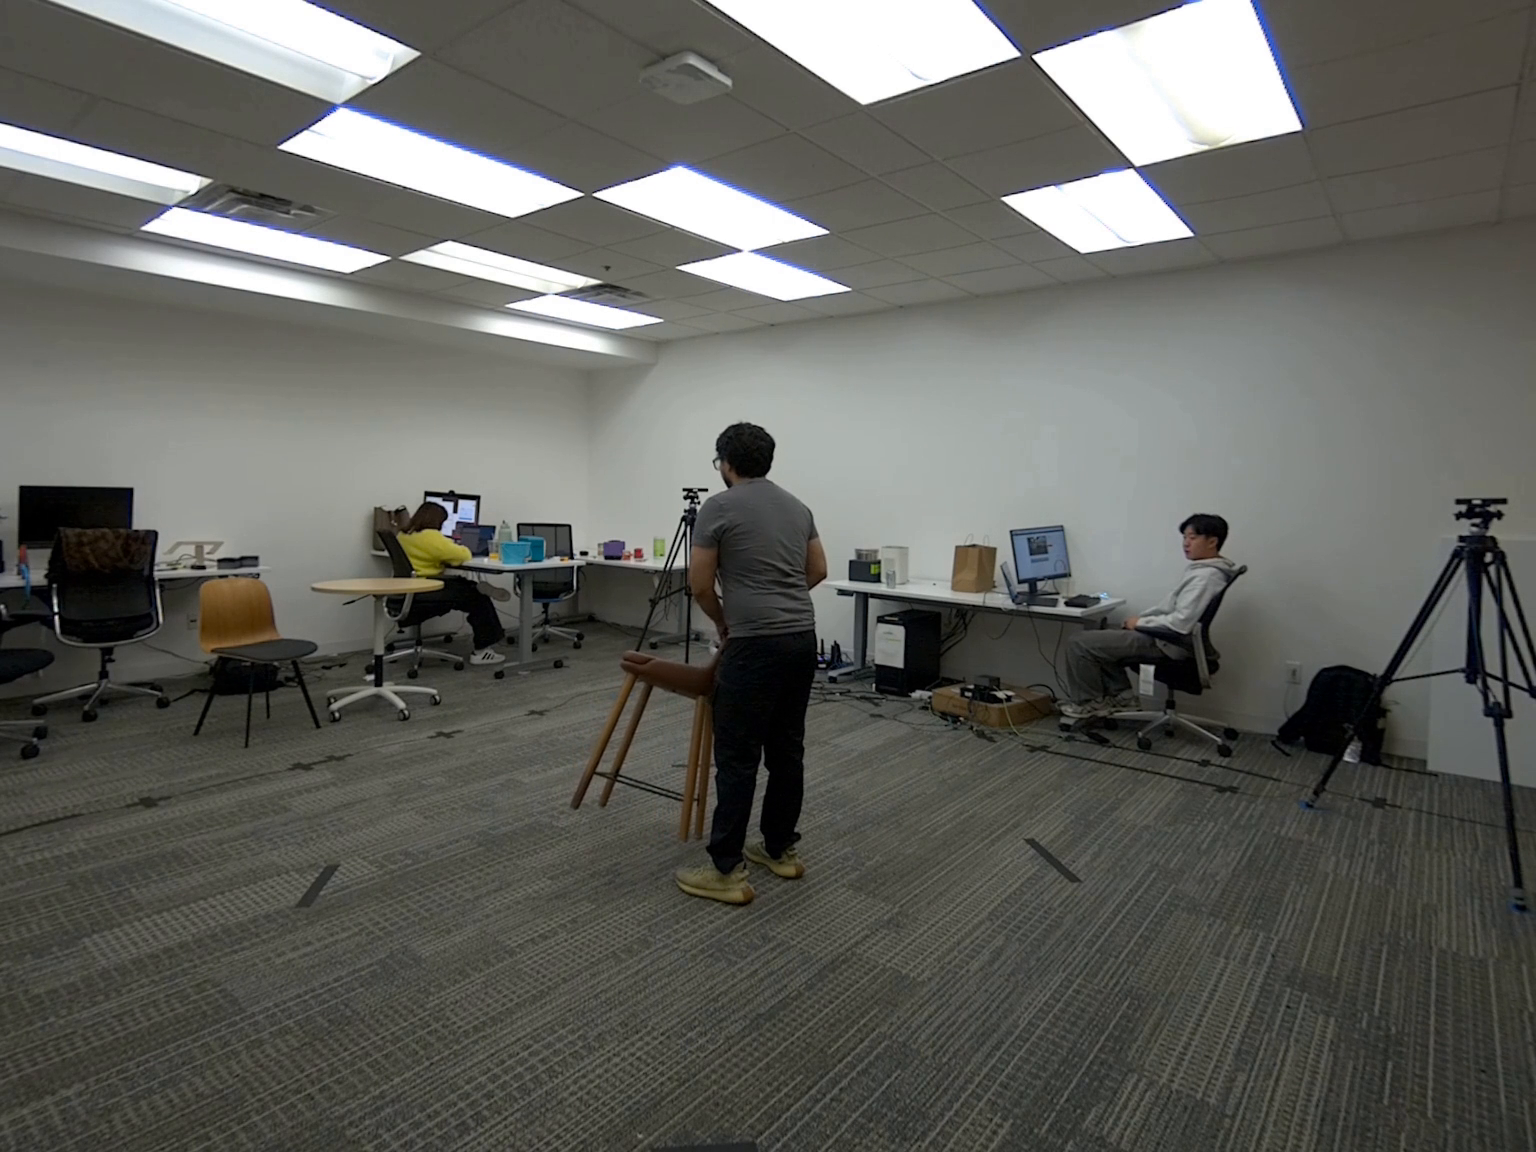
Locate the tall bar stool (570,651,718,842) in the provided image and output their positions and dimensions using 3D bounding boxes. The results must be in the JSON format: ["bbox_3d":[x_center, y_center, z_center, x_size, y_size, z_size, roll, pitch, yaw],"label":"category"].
[{"bbox_3d":[-0.396,0.543,3.371,0.474,0.897,0.446,14,-14,10],"label":"tall bar stool"}]
